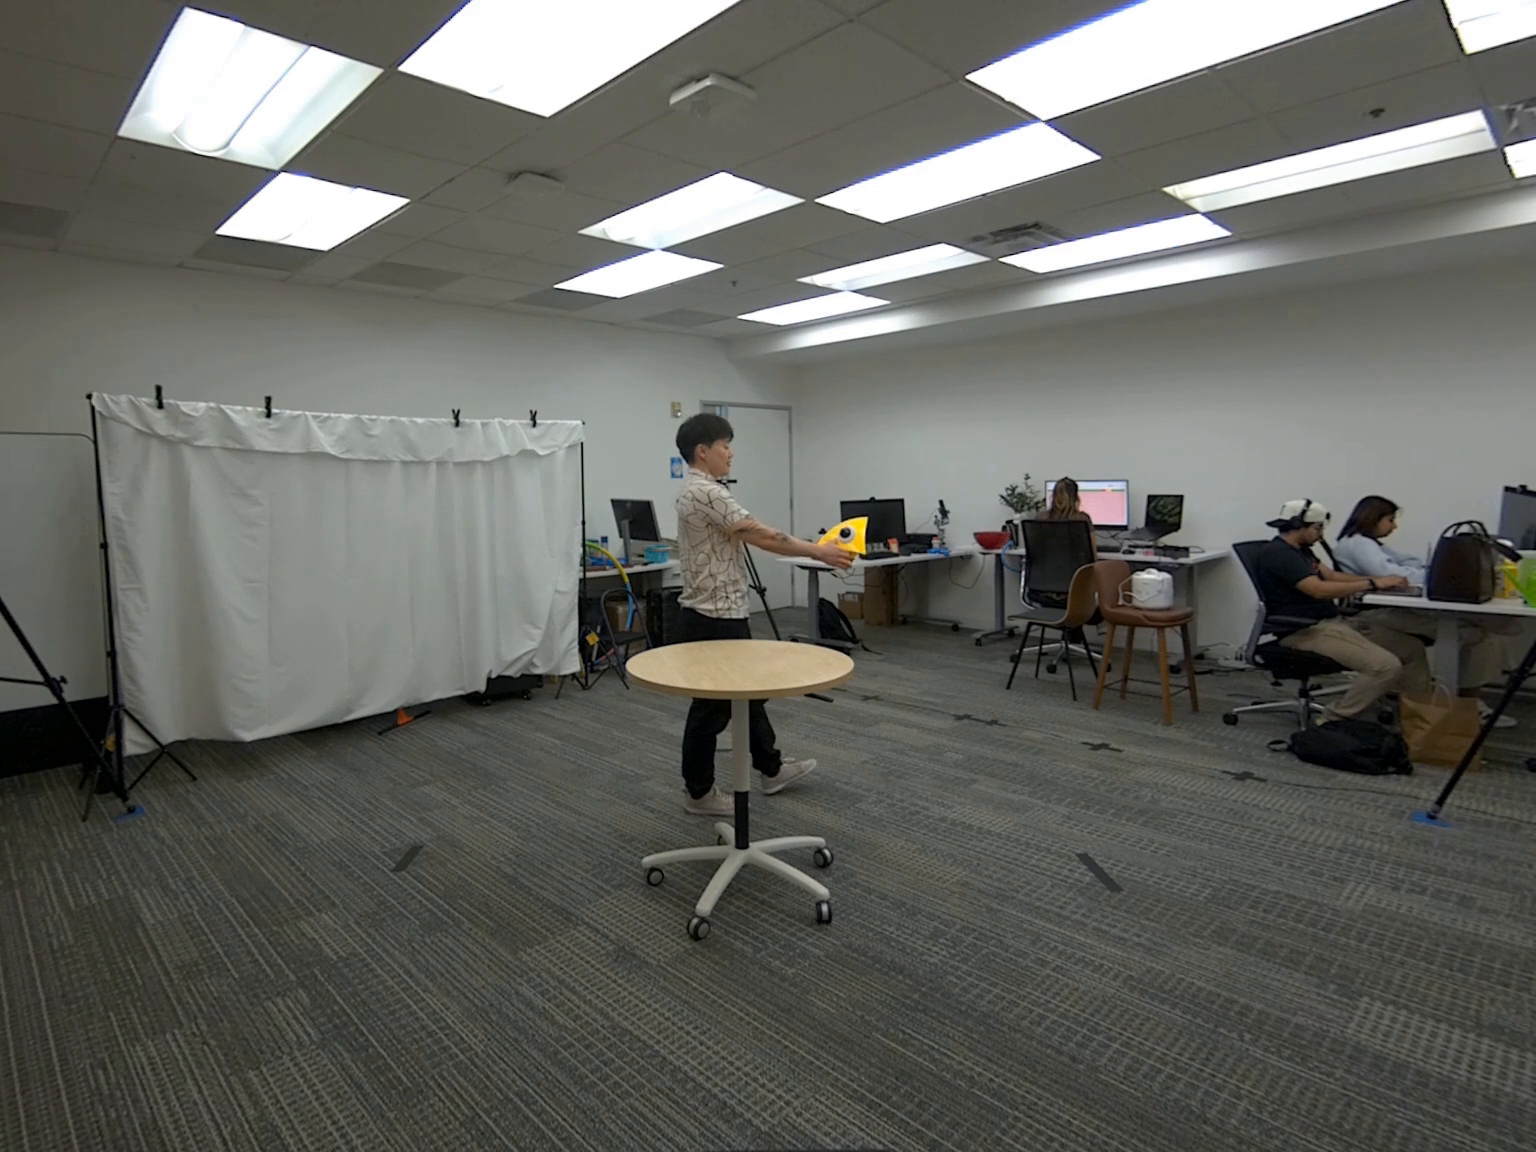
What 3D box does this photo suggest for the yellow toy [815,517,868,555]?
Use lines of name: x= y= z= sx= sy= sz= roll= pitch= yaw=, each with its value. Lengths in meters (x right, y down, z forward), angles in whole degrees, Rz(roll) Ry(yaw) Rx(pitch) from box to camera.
yellow toy: x=0.317 y=-0.162 z=3.585 sx=0.192 sy=0.230 sz=0.206 roll=22 pitch=1 yaw=-4
